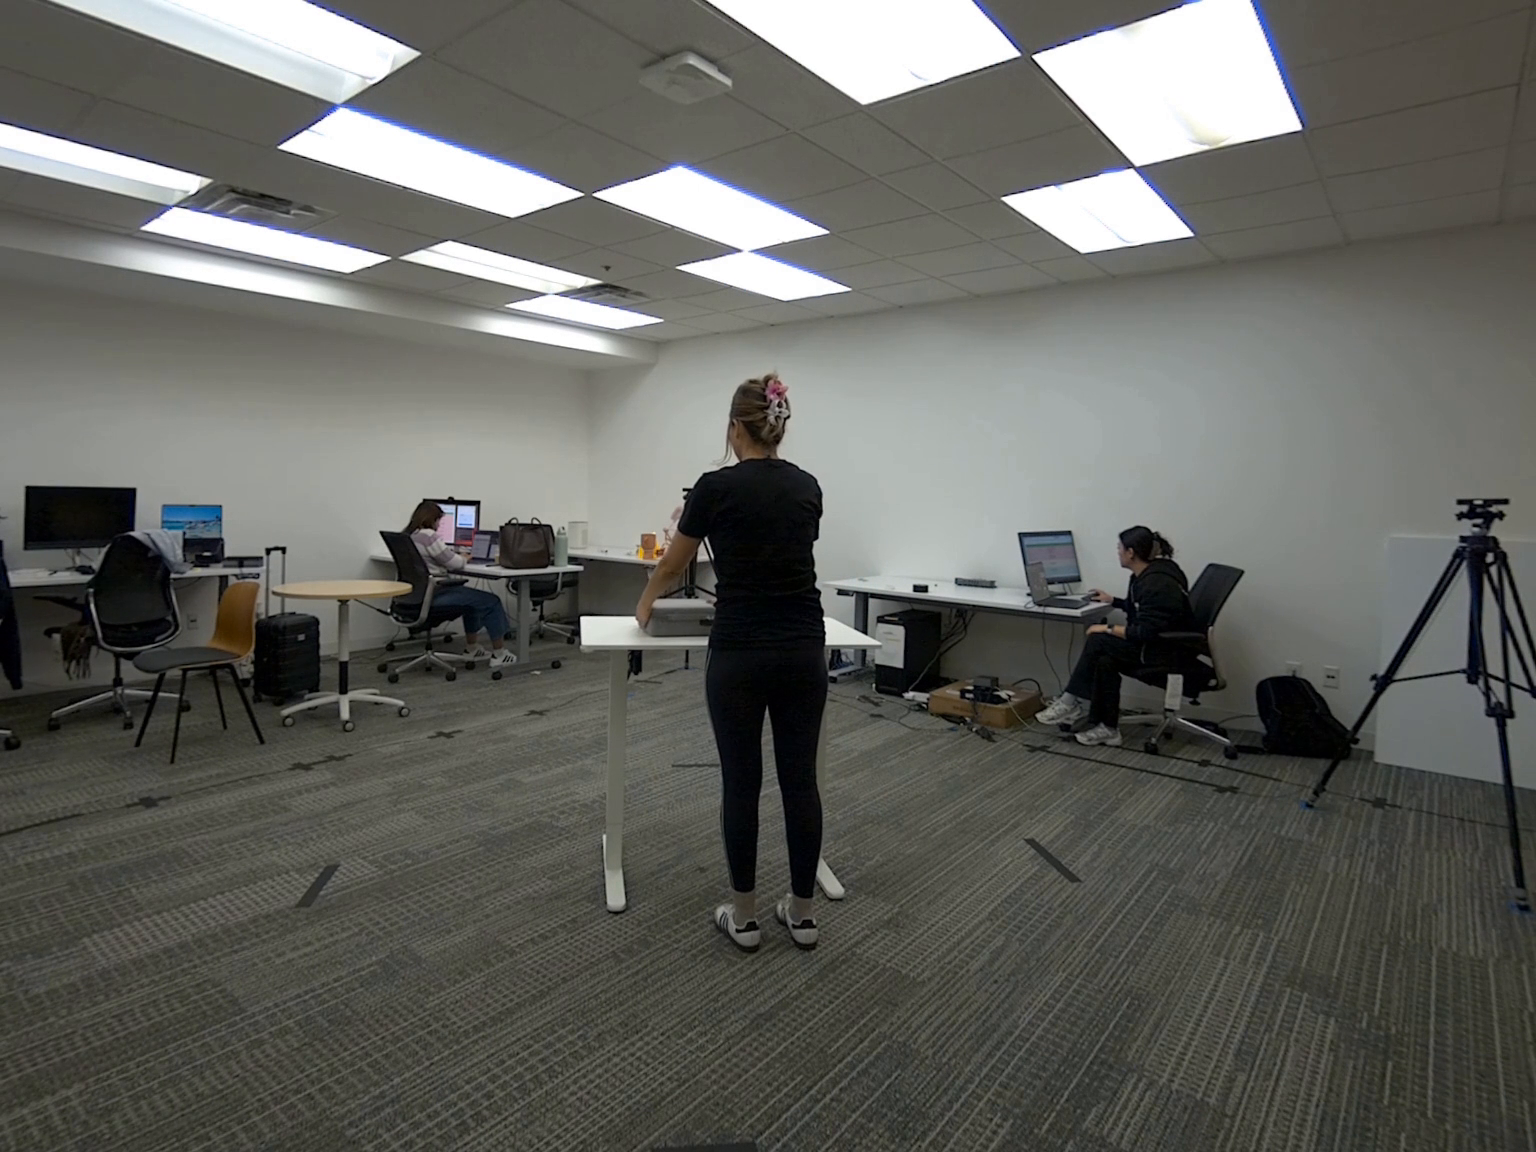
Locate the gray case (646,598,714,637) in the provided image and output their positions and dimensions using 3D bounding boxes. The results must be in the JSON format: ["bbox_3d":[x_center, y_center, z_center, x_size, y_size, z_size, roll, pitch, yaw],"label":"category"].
[{"bbox_3d":[-0.332,0.142,3.017,0.253,0.104,0.266,-1,5,-17],"label":"gray case"}]
